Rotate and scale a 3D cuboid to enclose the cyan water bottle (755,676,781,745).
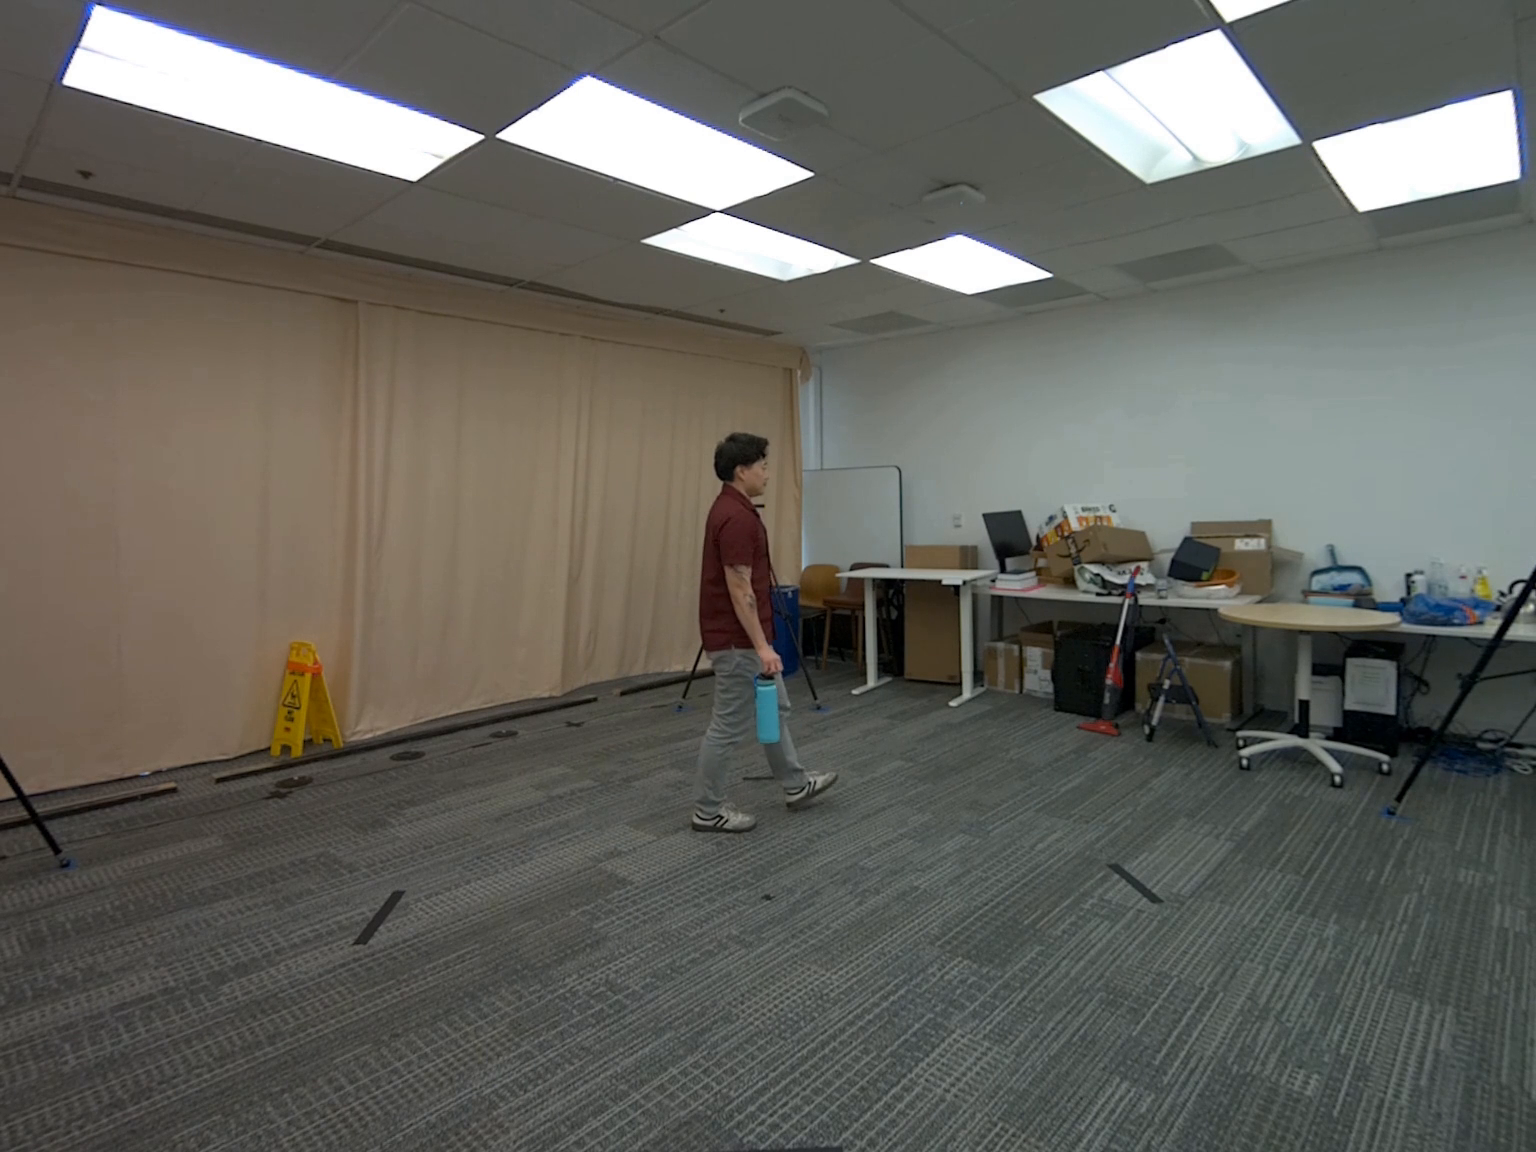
[{"bbox_3d":[-0.003,0.519,3.385,0.092,0.282,0.093,-2,5,-2],"label":"cyan water bottle"}]
